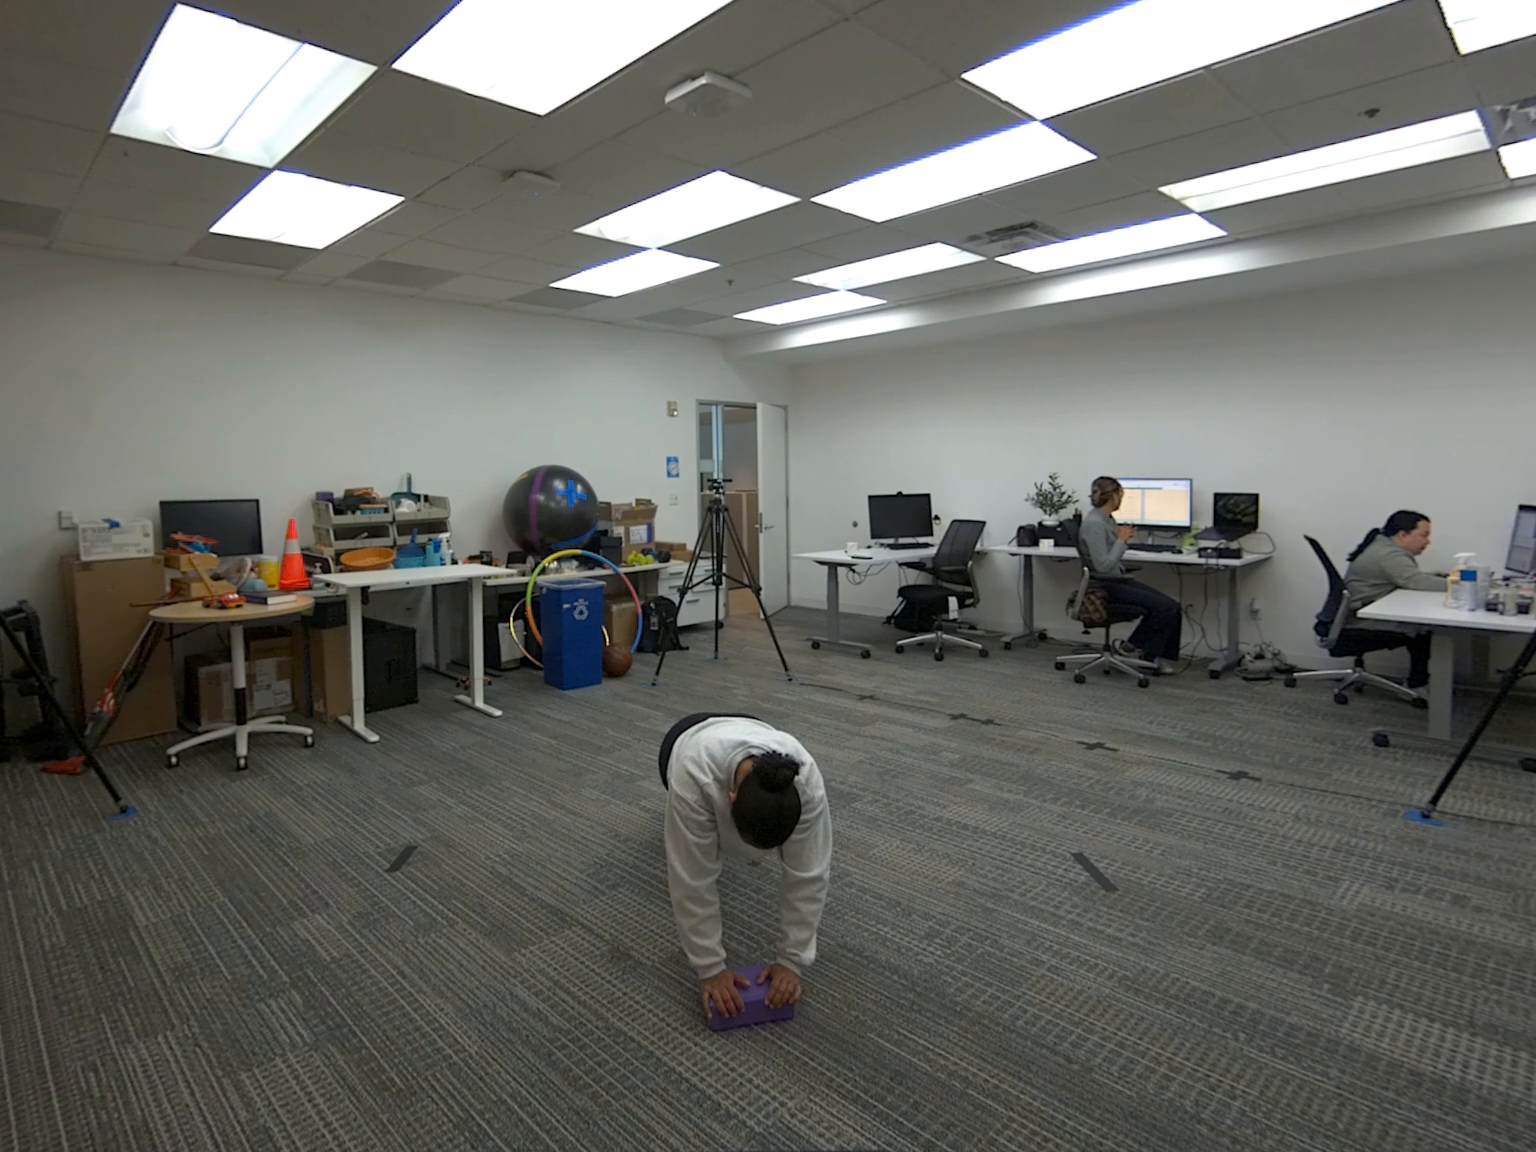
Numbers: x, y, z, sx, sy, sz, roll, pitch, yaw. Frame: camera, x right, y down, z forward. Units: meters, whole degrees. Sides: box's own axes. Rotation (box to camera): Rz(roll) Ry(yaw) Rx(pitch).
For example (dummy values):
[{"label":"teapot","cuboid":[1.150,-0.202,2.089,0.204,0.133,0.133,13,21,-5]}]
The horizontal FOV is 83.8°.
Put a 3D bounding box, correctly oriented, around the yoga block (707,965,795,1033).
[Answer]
[{"label":"yoga block","cuboid":[-0.049,1.120,2.255,0.226,0.076,0.152,-2,7,-13]}]
